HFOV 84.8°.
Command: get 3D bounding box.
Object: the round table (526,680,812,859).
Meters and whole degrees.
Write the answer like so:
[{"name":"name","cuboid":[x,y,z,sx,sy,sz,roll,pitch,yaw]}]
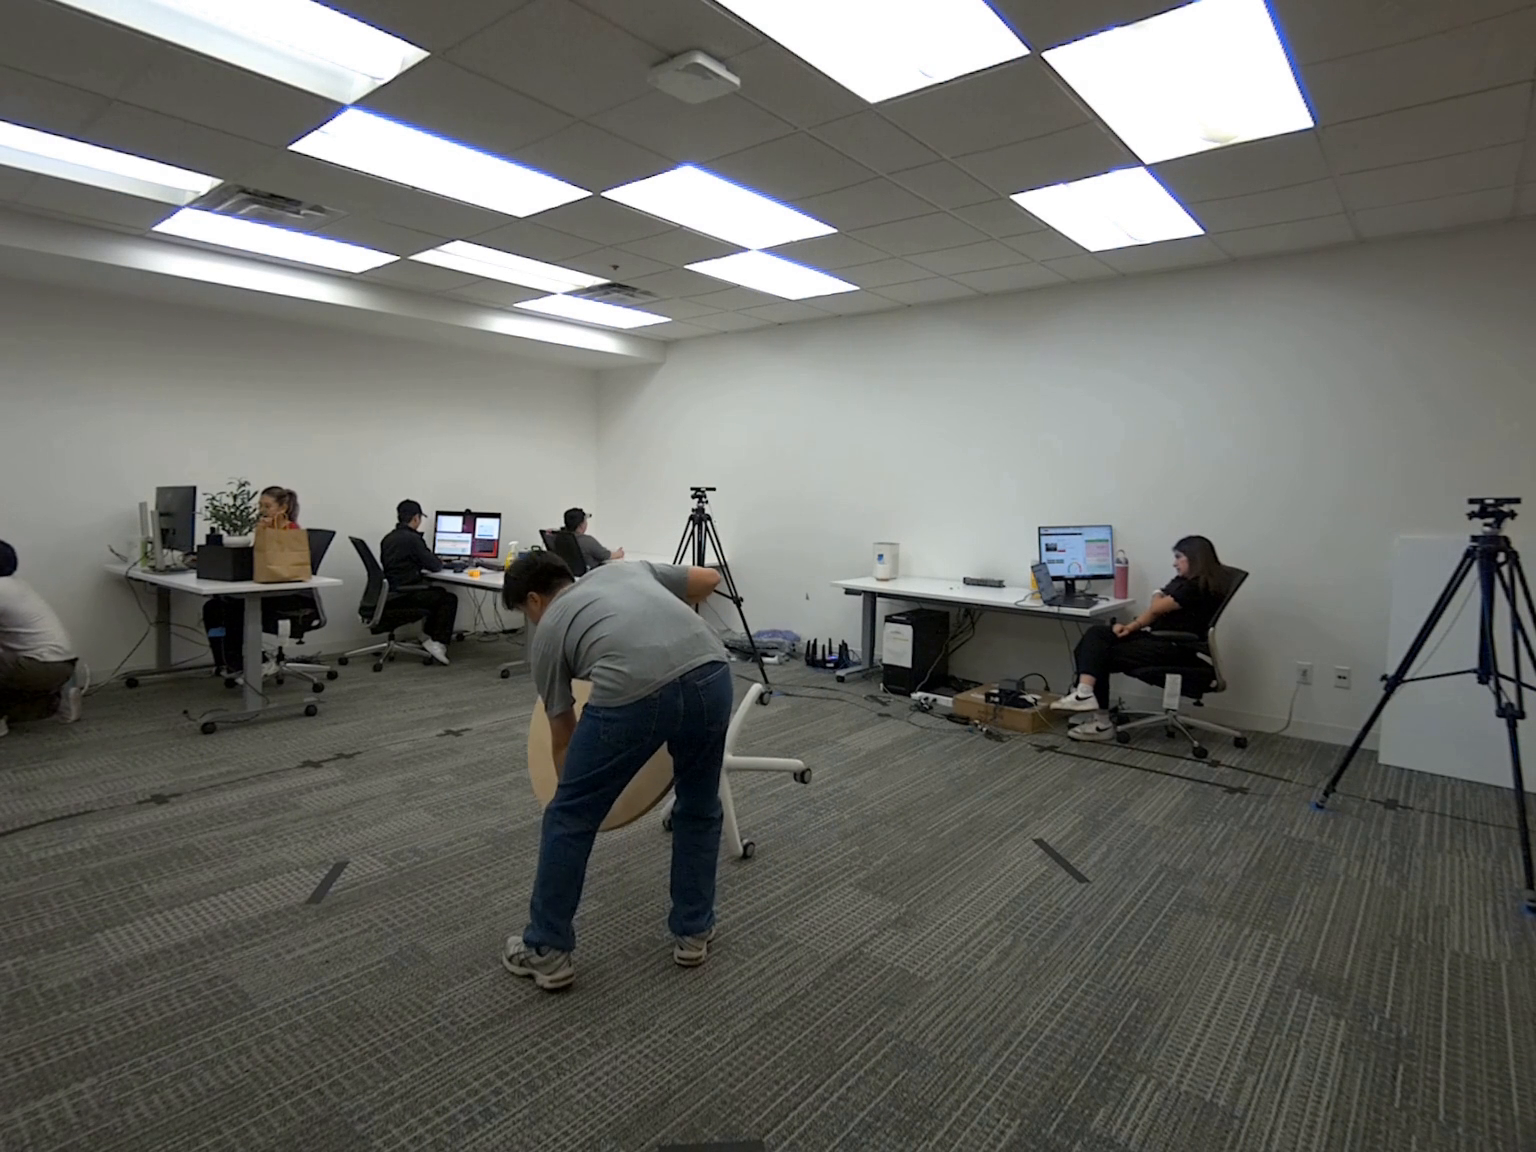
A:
[{"name":"round table","cuboid":[-0.348,0.623,3.156,0.789,0.771,0.760,4,-22,39]}]
